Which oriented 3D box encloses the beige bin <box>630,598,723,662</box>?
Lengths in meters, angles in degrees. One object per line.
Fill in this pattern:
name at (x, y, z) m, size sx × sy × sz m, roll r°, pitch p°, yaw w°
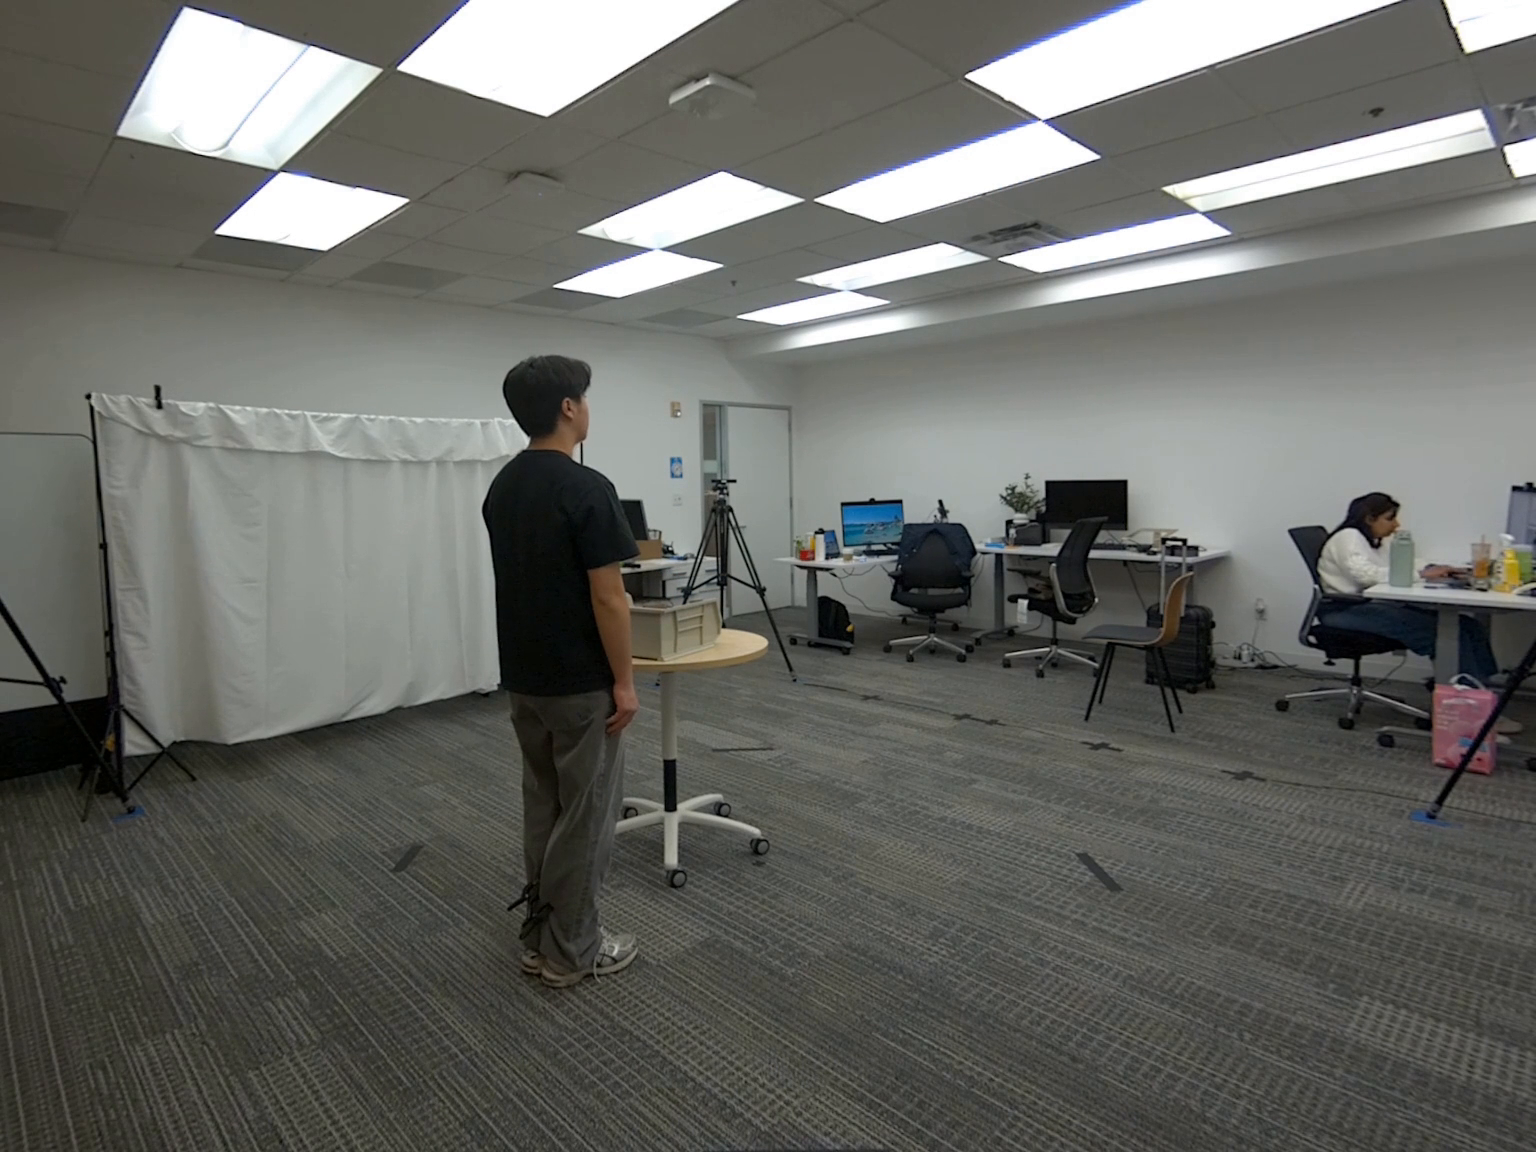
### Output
beige bin at (-0.442, 0.177, 3.137) m, size 0.434 × 0.188 × 0.369 m, roll 3°, pitch 8°, yaw 31°
